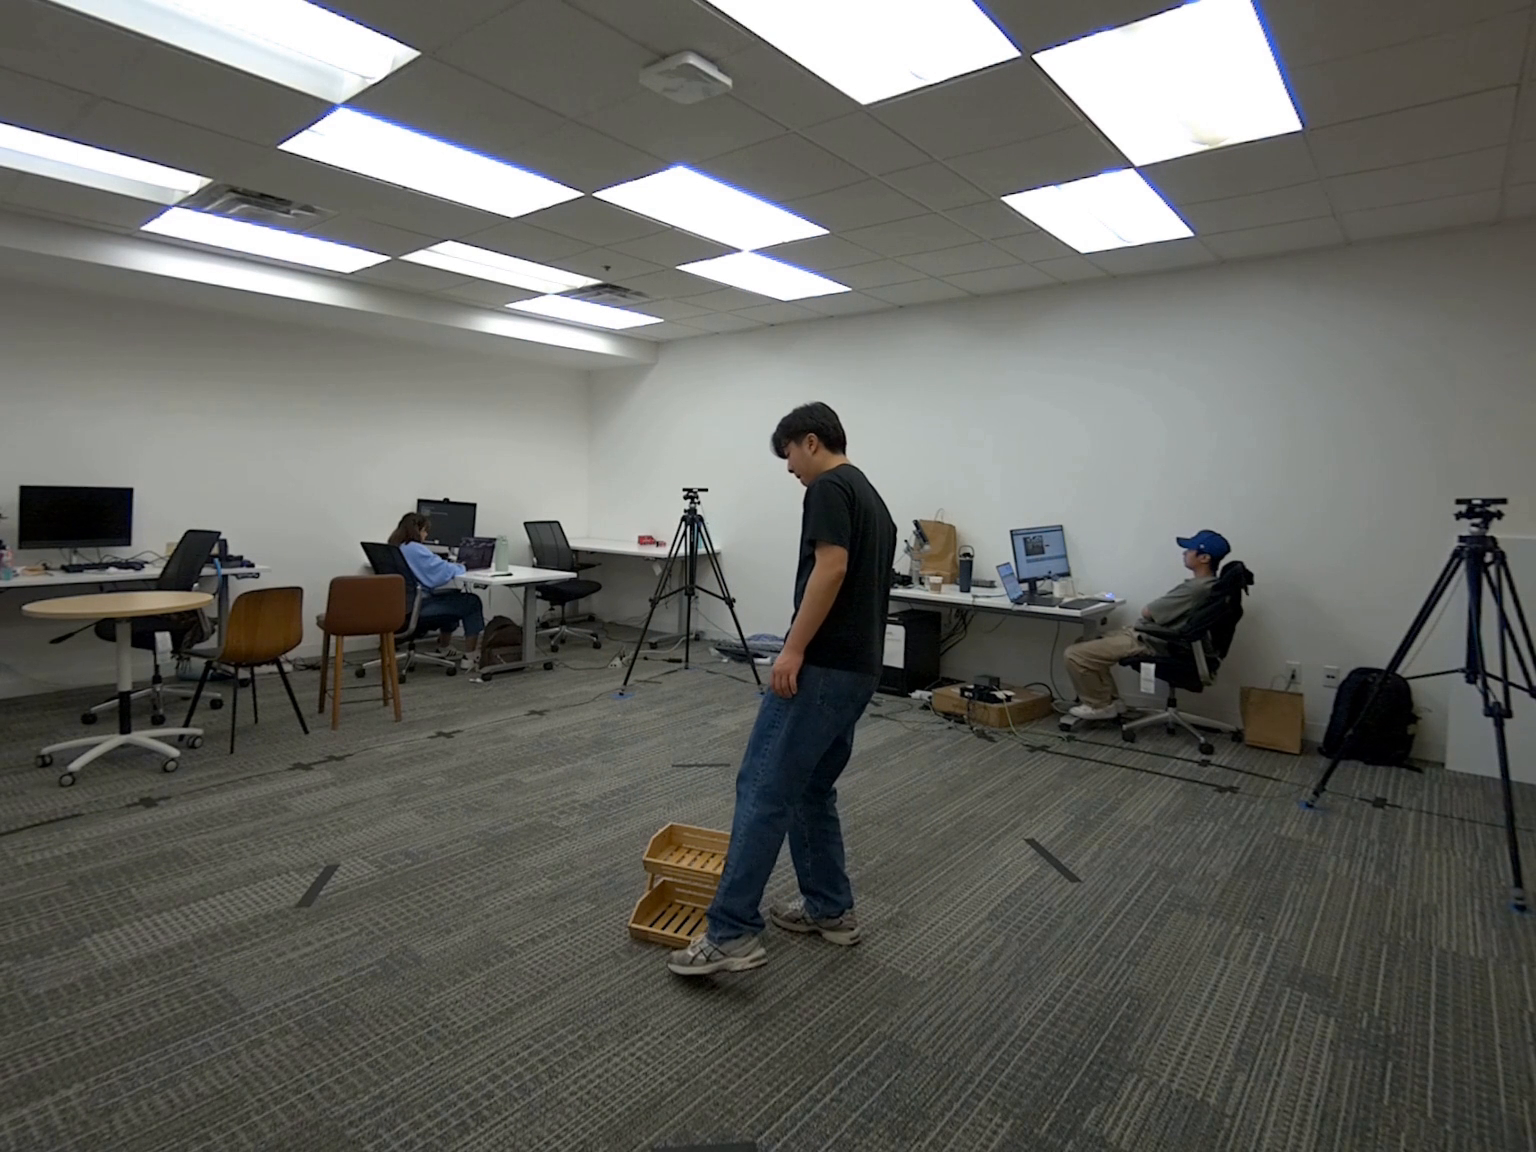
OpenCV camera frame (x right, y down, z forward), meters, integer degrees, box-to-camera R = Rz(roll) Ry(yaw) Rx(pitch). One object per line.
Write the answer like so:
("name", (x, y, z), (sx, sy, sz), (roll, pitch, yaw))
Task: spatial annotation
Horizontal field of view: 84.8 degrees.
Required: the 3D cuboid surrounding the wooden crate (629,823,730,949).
("wooden crate", (-0.242, 0.976, 2.683), (0.332, 0.272, 0.296), (2, 4, 20))
